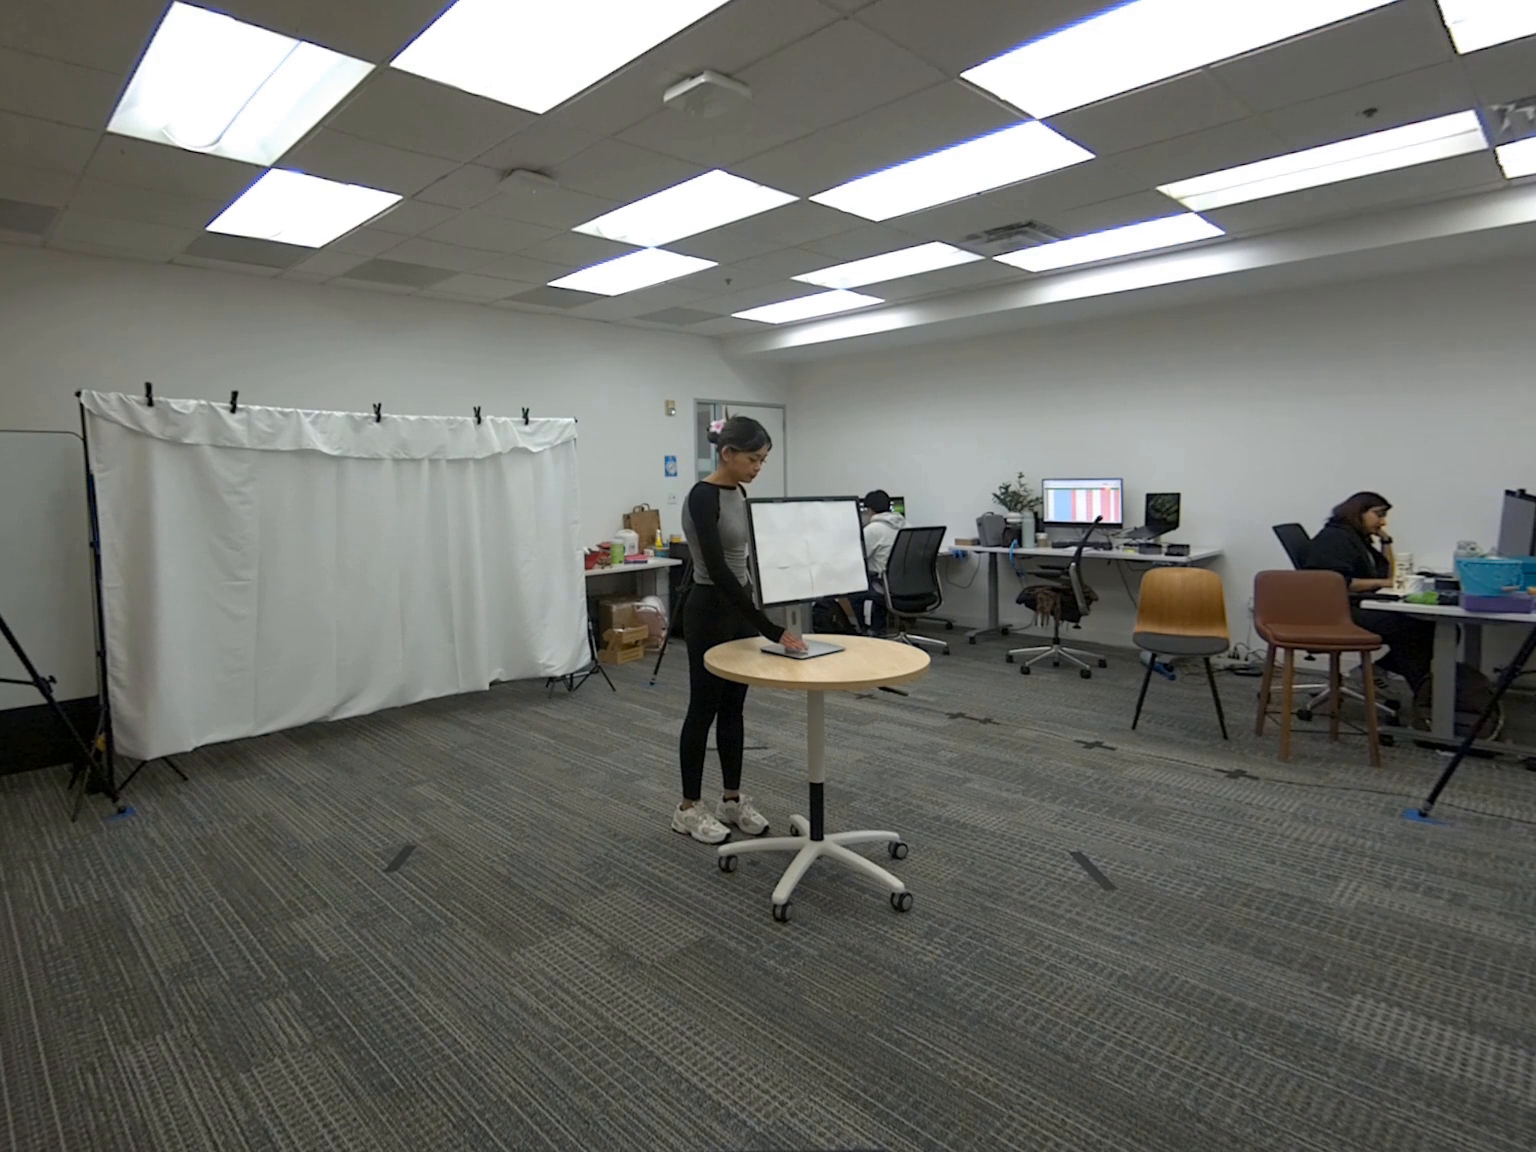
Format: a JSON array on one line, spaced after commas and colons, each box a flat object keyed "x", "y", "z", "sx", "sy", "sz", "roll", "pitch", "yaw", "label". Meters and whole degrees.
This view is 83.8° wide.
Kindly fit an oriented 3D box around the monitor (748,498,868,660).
[{"x": 0.121, "y": -0.003, "z": 2.979, "sx": 0.525, "sy": 0.520, "sz": 0.193, "roll": -5, "pitch": 8, "yaw": -44, "label": "monitor"}]
